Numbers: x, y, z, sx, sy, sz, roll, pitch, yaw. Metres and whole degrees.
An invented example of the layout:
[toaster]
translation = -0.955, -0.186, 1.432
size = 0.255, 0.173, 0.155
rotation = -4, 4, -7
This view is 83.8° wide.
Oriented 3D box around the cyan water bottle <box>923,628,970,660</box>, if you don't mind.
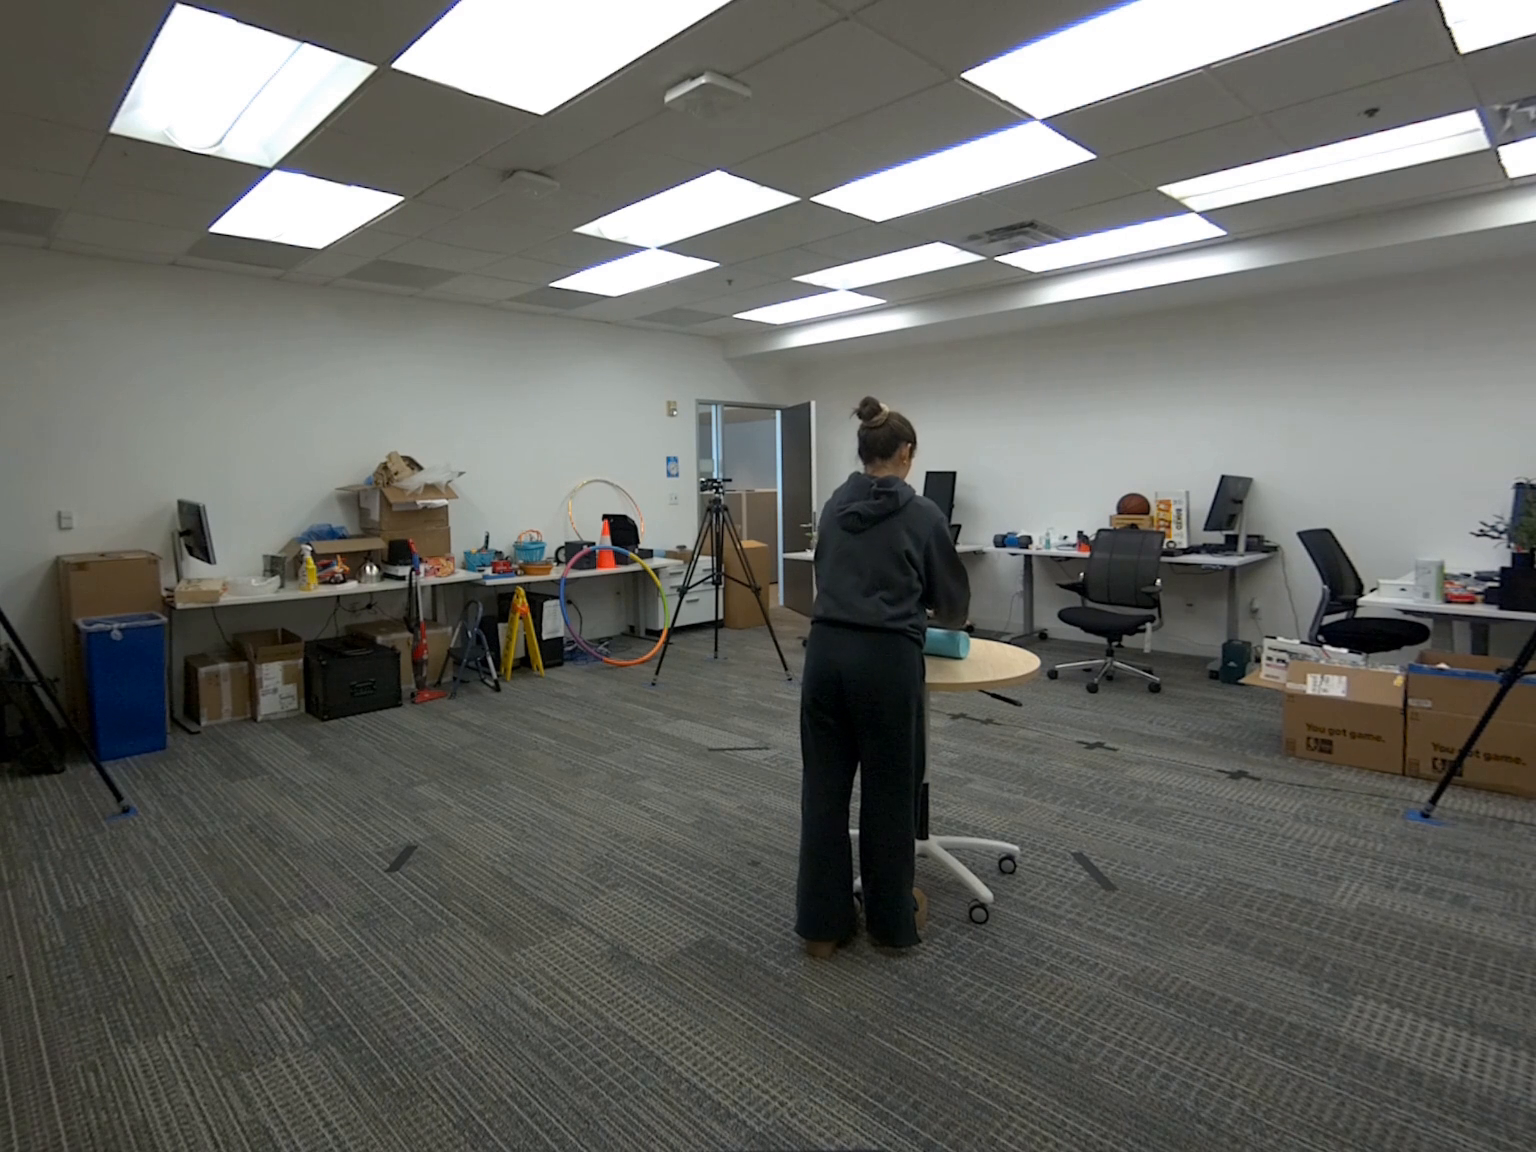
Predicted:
[cyan water bottle]
translation = 0.547, 0.223, 2.936
size = 0.292, 0.092, 0.090
rotation = 4, 6, 37
